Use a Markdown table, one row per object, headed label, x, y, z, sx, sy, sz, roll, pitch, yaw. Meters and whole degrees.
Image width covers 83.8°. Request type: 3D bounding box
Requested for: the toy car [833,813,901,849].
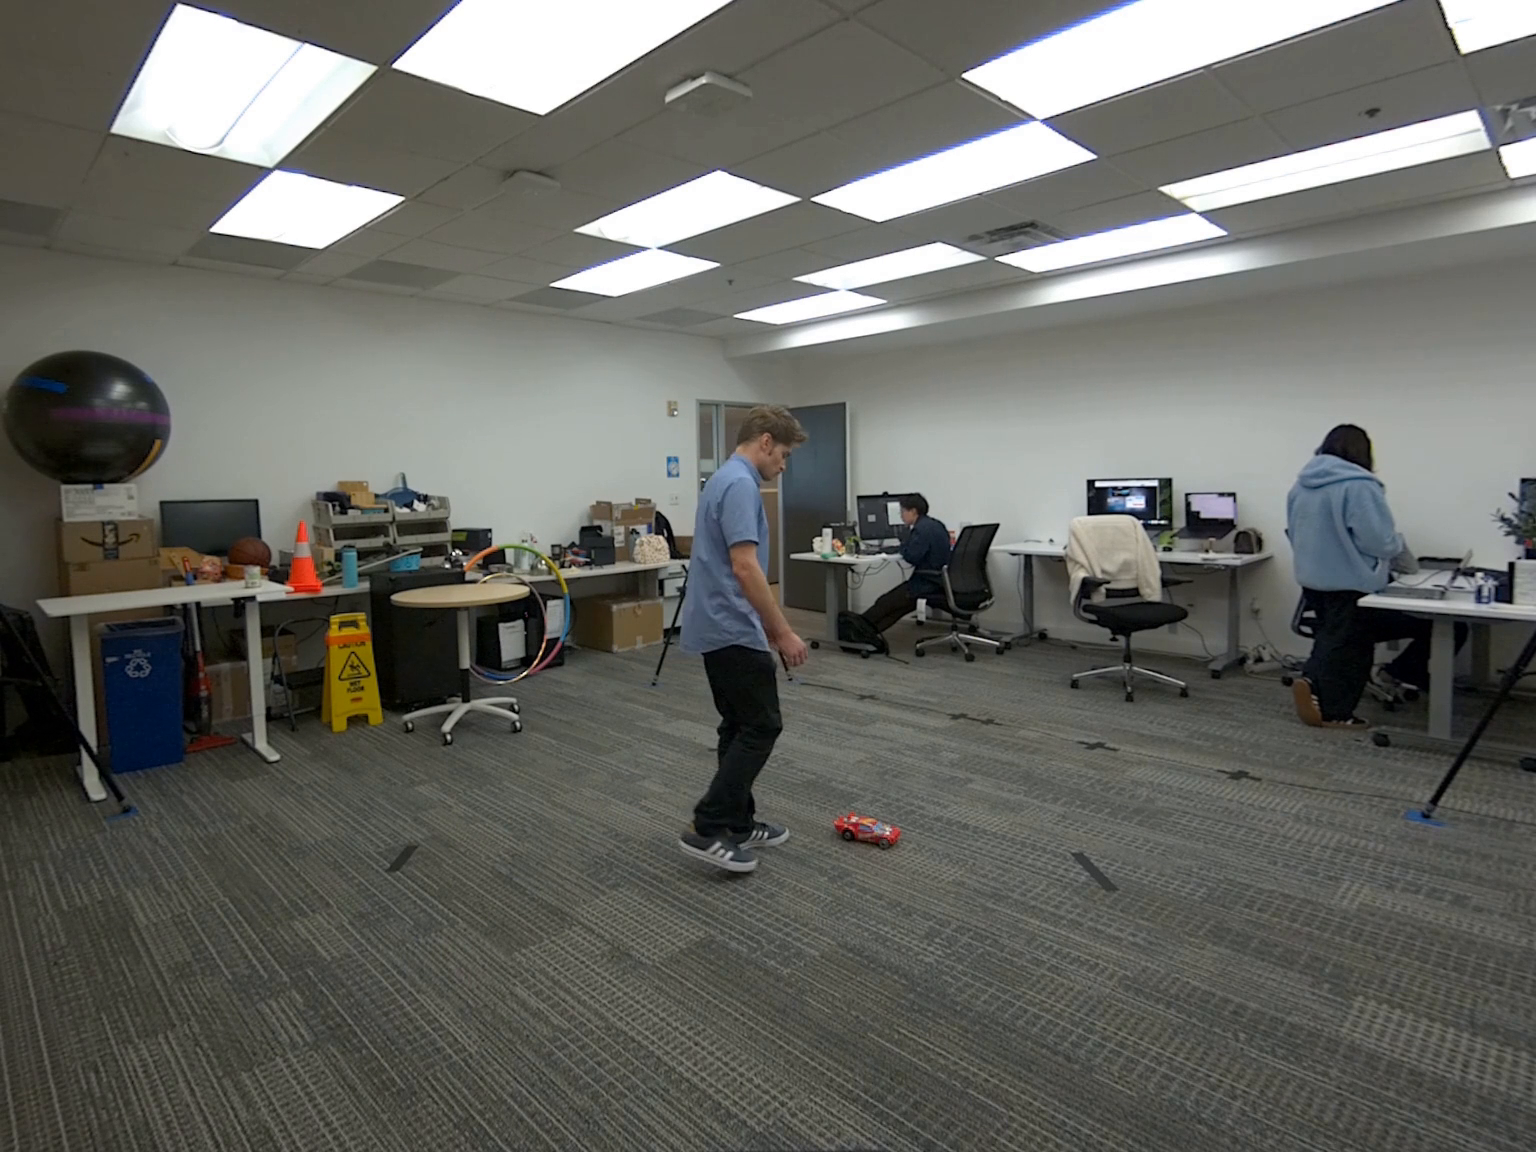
| label | x | y | z | sx | sy | sz | roll | pitch | yaw |
| --- | --- | --- | --- | --- | --- | --- | --- | --- | --- |
| toy car | 0.379 | 0.987 | 3.305 | 0.262 | 0.082 | 0.127 | 15 | 13 | 30 |
